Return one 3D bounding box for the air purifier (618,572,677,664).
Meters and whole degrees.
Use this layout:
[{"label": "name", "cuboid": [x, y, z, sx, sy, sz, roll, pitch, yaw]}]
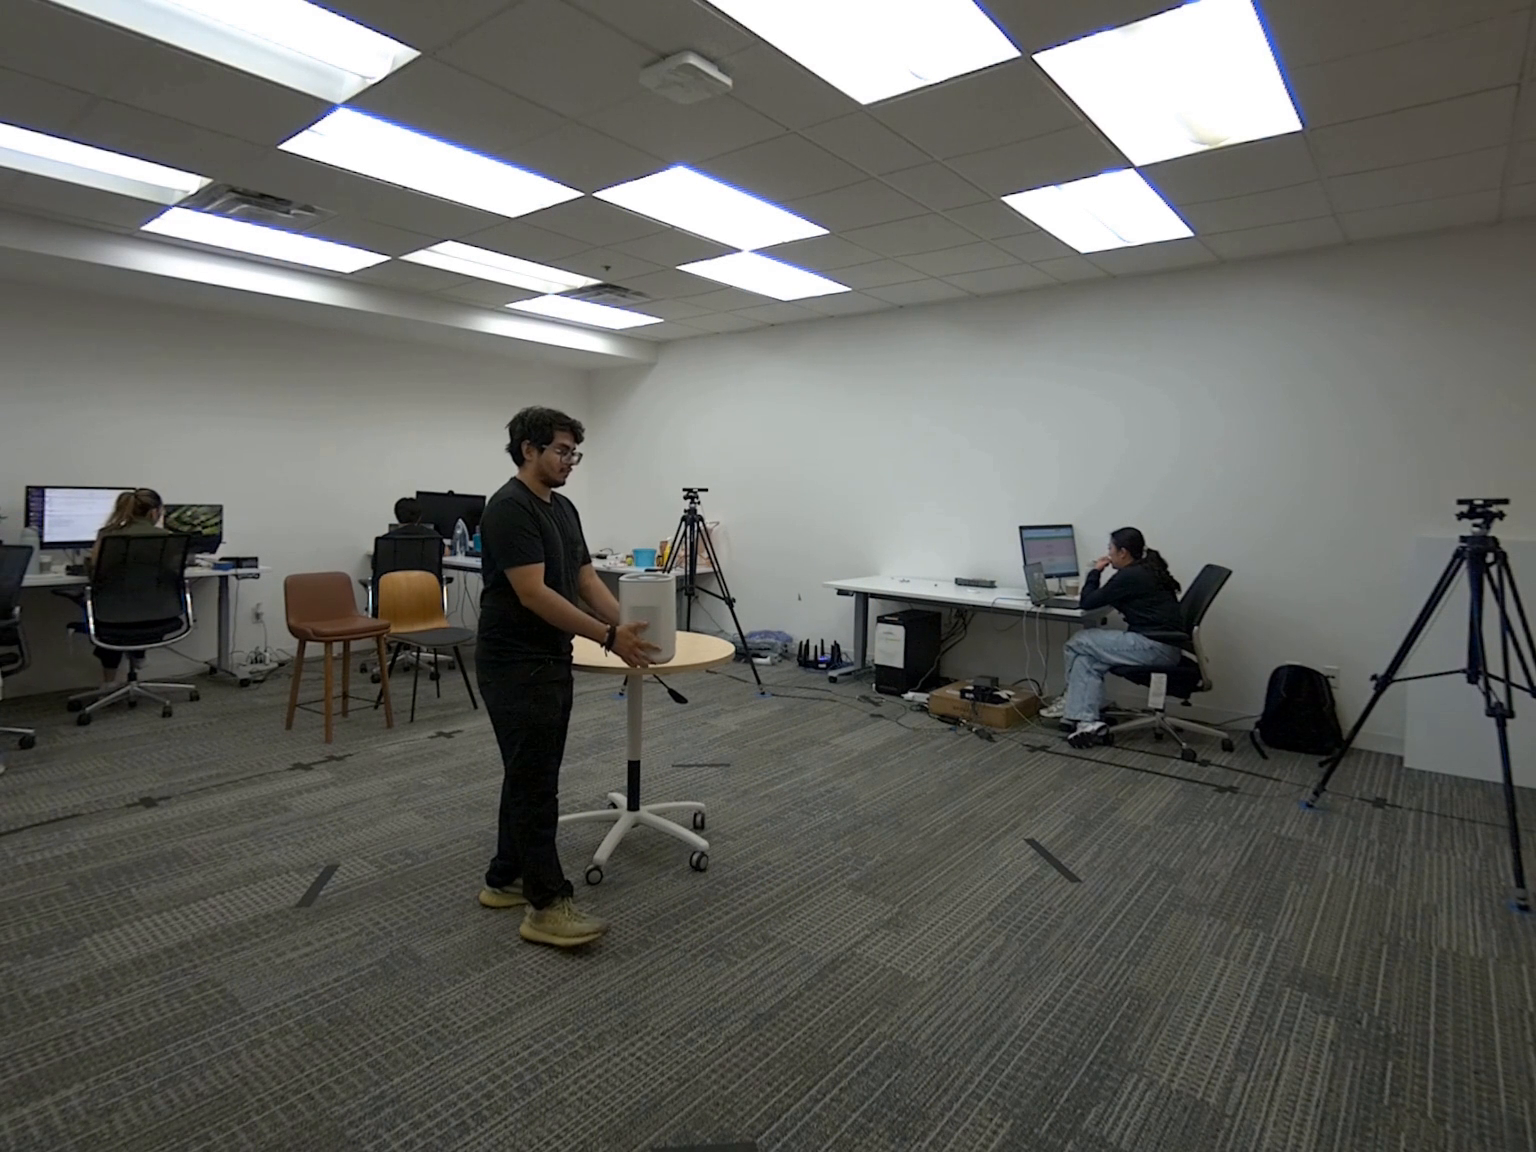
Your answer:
[{"label": "air purifier", "cuboid": [-0.386, 0.134, 2.665, 0.171, 0.264, 0.172, -2, 4, -3]}]
